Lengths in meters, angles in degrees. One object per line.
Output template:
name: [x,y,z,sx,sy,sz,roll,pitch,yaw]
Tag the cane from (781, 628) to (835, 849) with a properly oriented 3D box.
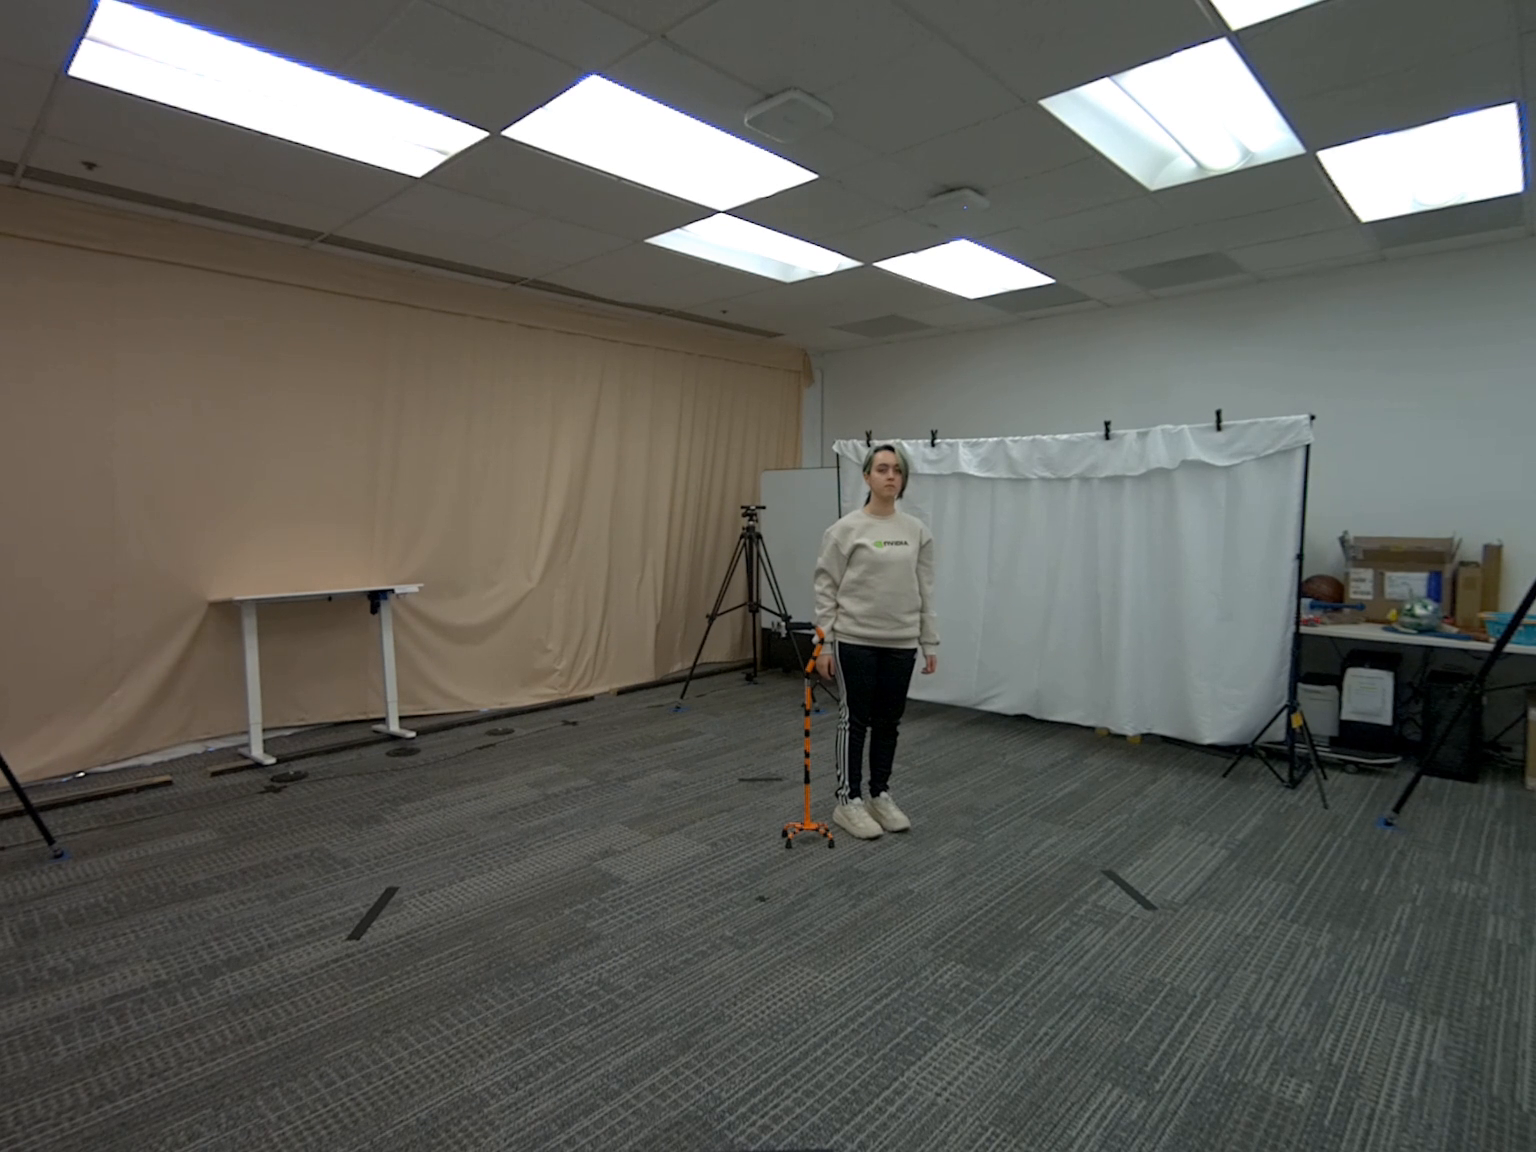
cane: [0.167,0.650,3.470,0.206,0.907,0.152,0,2,-4]
